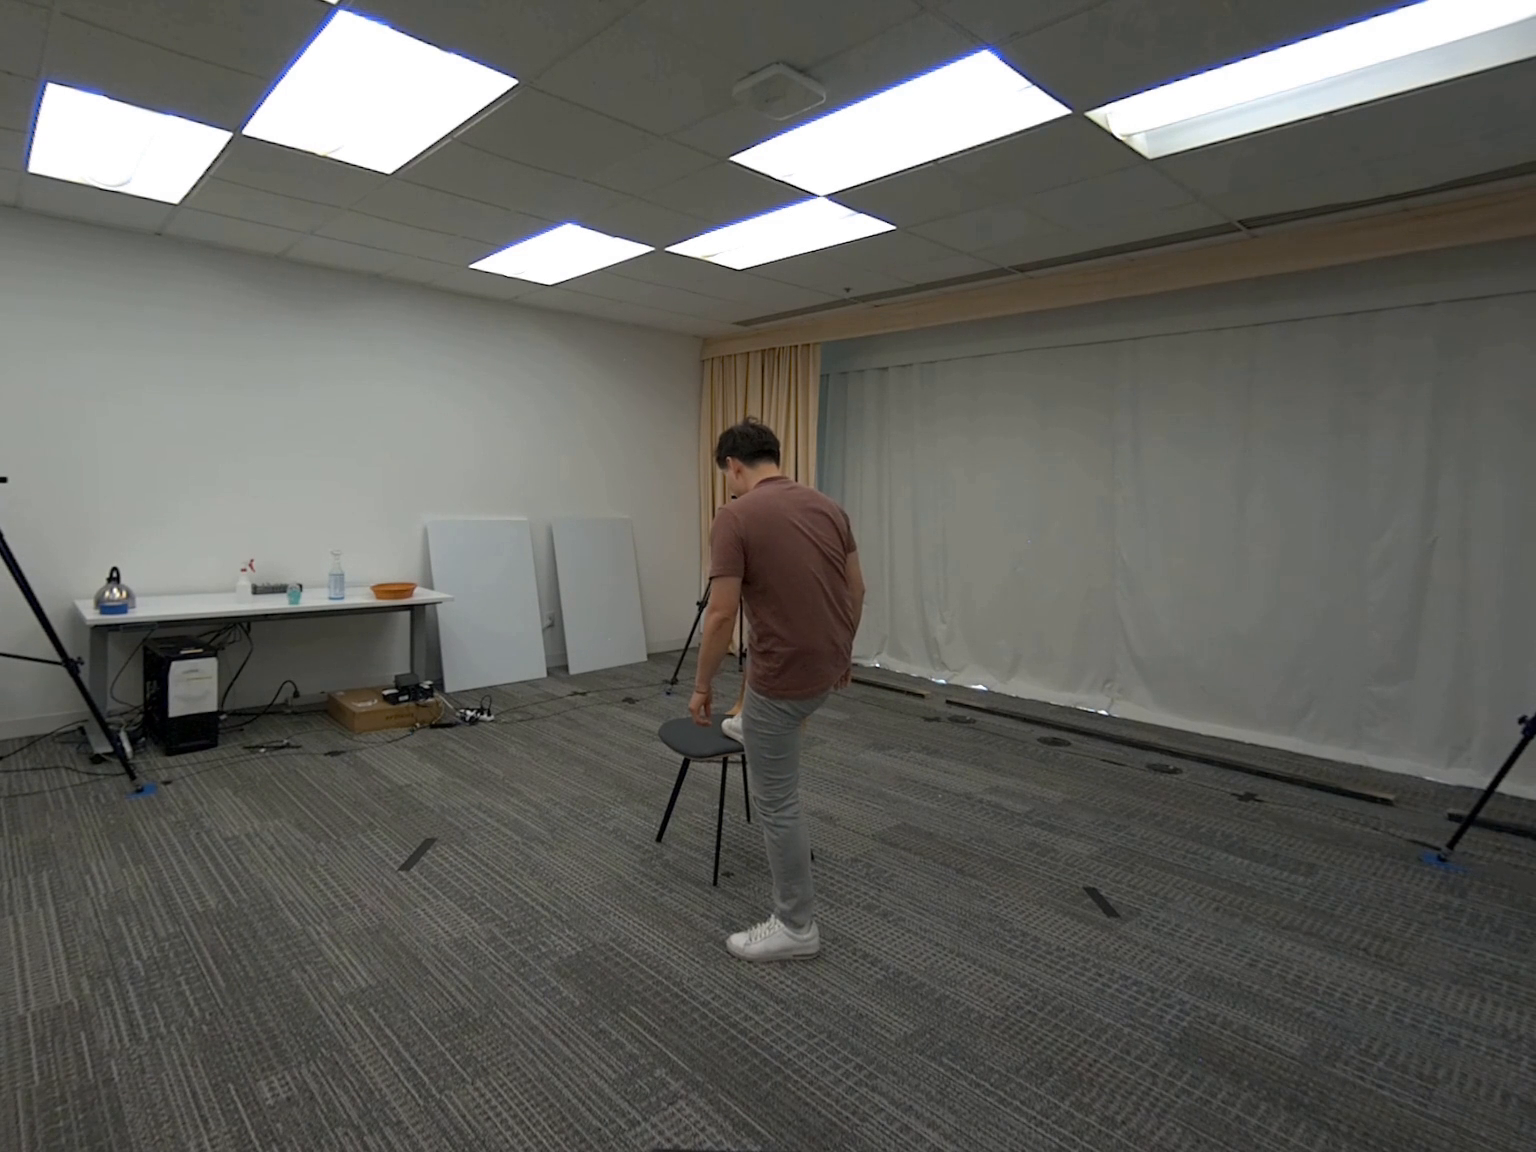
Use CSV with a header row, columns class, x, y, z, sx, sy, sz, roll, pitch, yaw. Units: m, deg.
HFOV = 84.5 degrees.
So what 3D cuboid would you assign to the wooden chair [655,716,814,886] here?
class,x,y,z,sx,sy,sz,roll,pitch,yaw
wooden chair,-0.138,0.661,3.279,0.511,0.877,0.490,4,1,-34
